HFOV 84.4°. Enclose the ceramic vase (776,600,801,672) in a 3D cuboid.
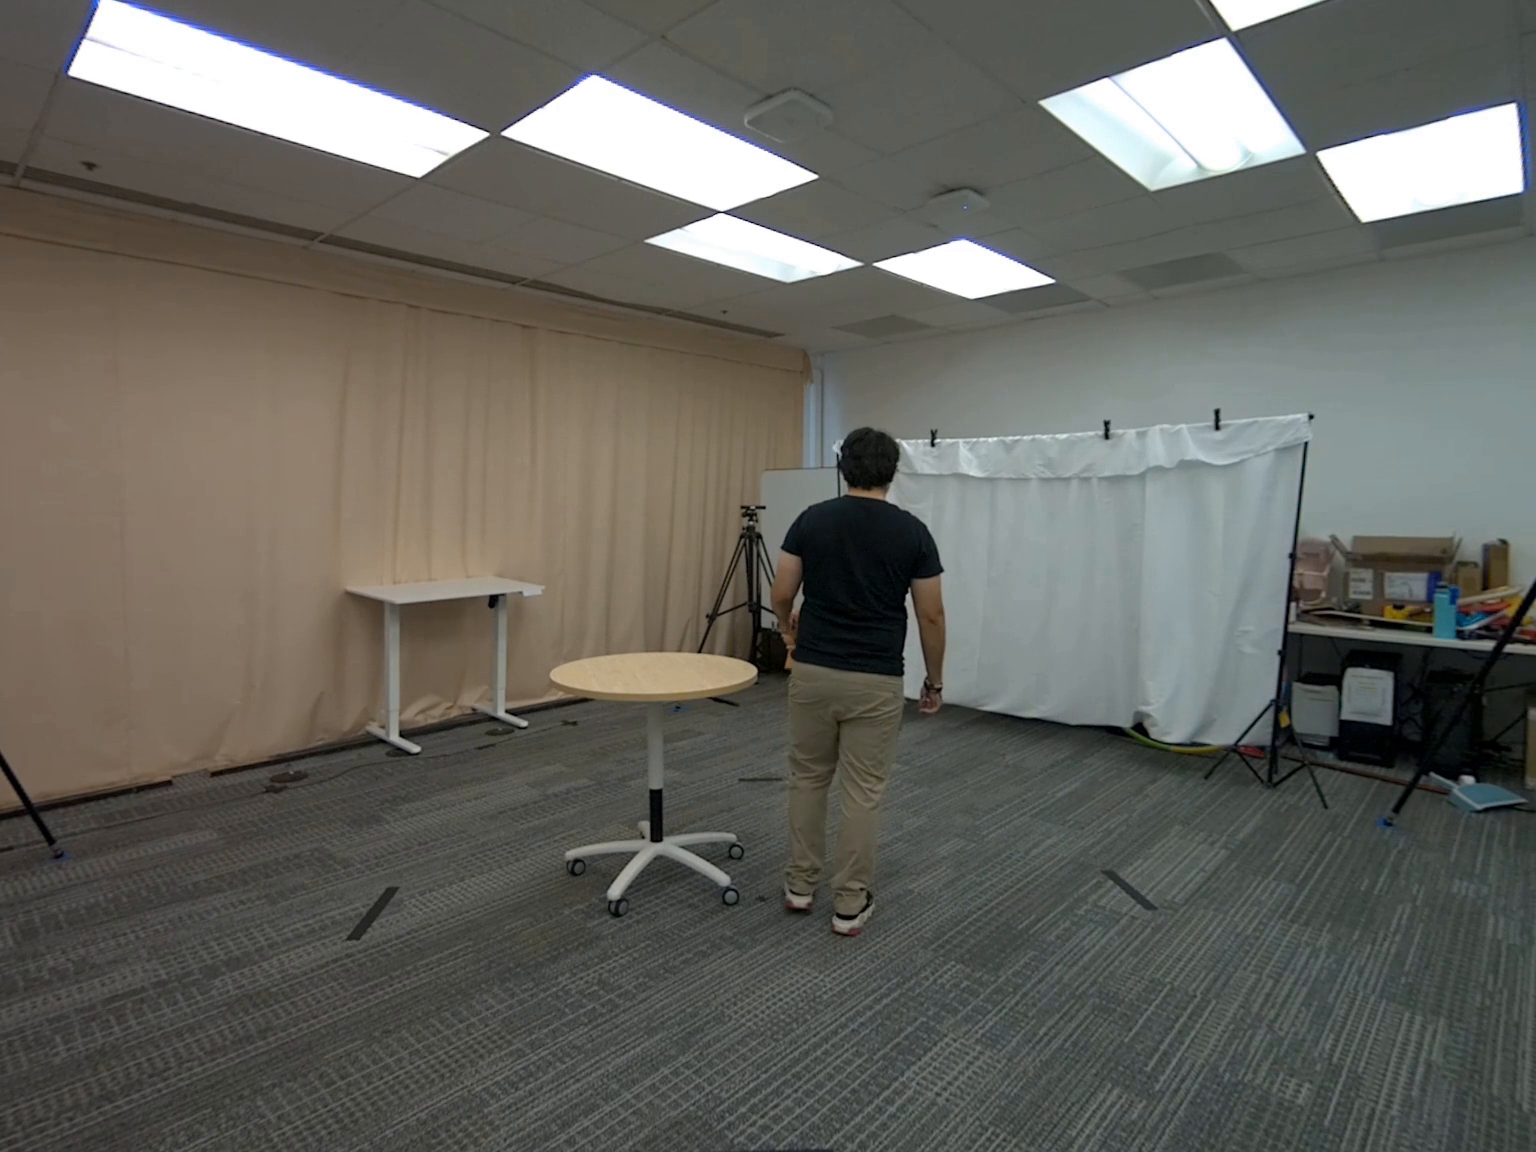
[{"bbox_3d":[0.124,0.251,3.222,0.155,0.221,0.137,11,-14,-22],"label":"ceramic vase"}]
